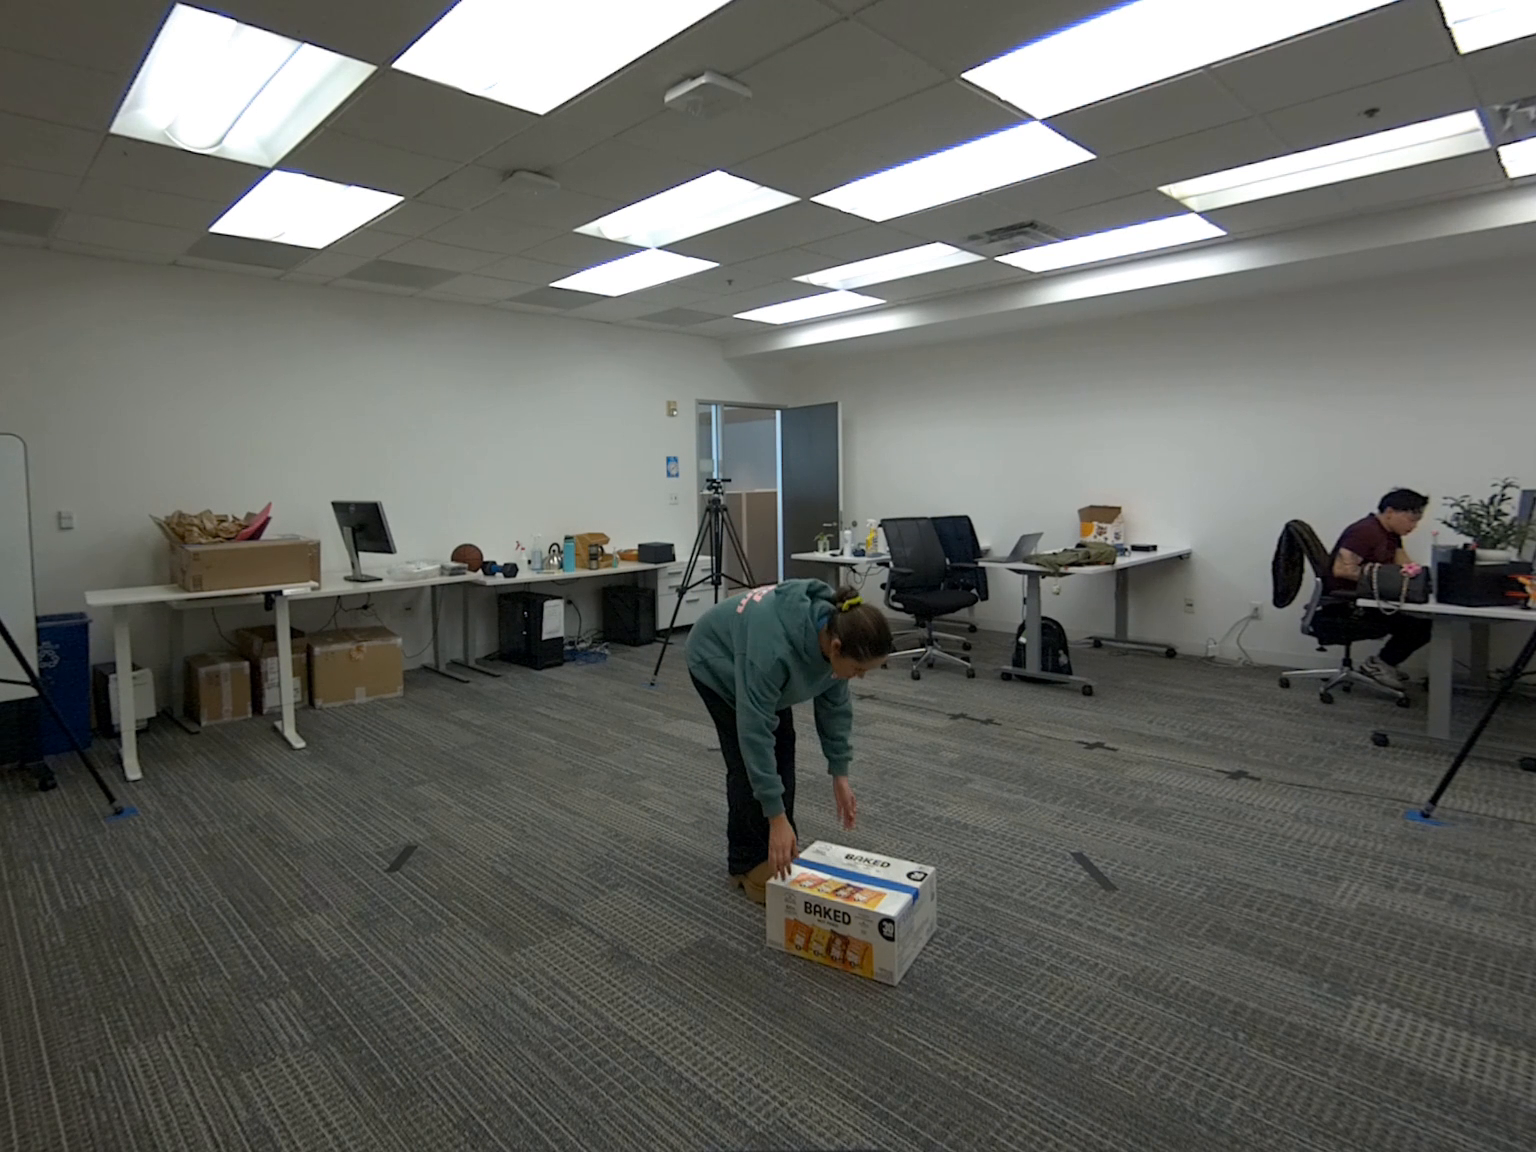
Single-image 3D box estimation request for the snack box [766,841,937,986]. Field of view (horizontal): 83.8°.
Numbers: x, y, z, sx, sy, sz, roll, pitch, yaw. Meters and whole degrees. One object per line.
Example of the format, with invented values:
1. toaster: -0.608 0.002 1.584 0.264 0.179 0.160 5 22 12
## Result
1. snack box: 0.260 1.000 2.571 0.416 0.205 0.333 2 7 31
